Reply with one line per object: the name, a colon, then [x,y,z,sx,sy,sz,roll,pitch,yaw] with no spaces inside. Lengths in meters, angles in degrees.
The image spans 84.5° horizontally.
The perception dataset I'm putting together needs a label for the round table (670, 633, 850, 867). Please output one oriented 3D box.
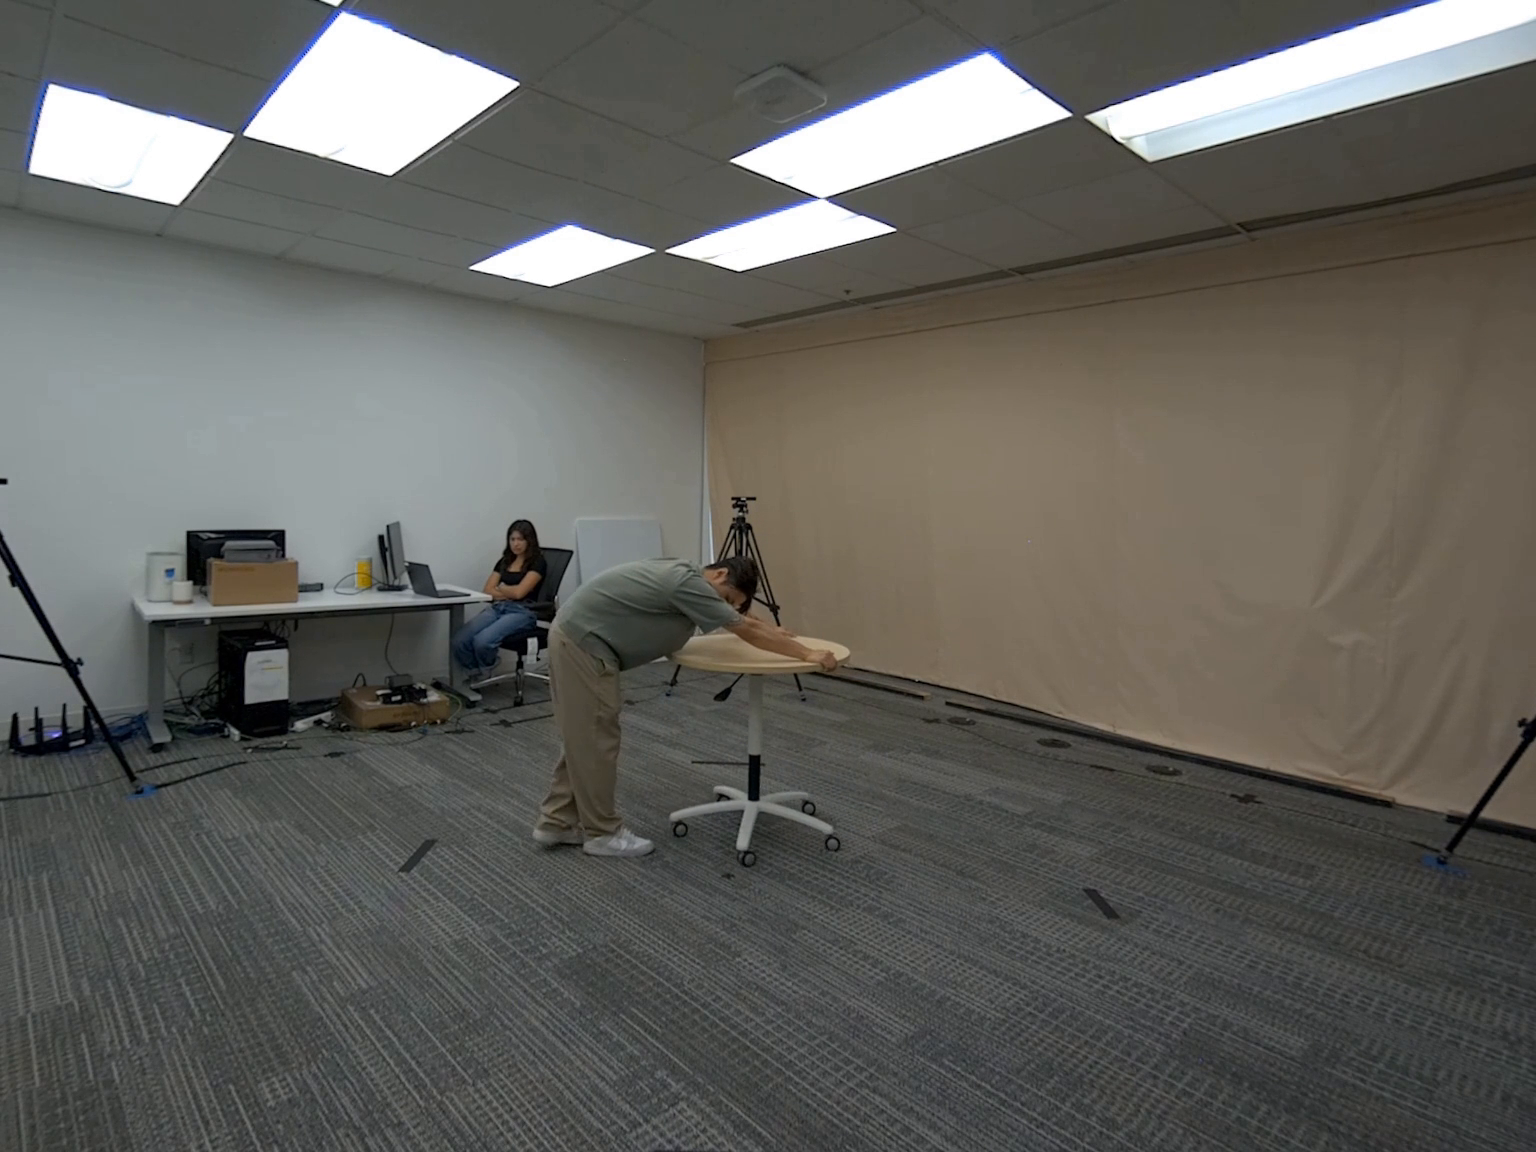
round table: [-0.062,0.683,3.517,0.784,0.784,0.788,1,5,-1]
